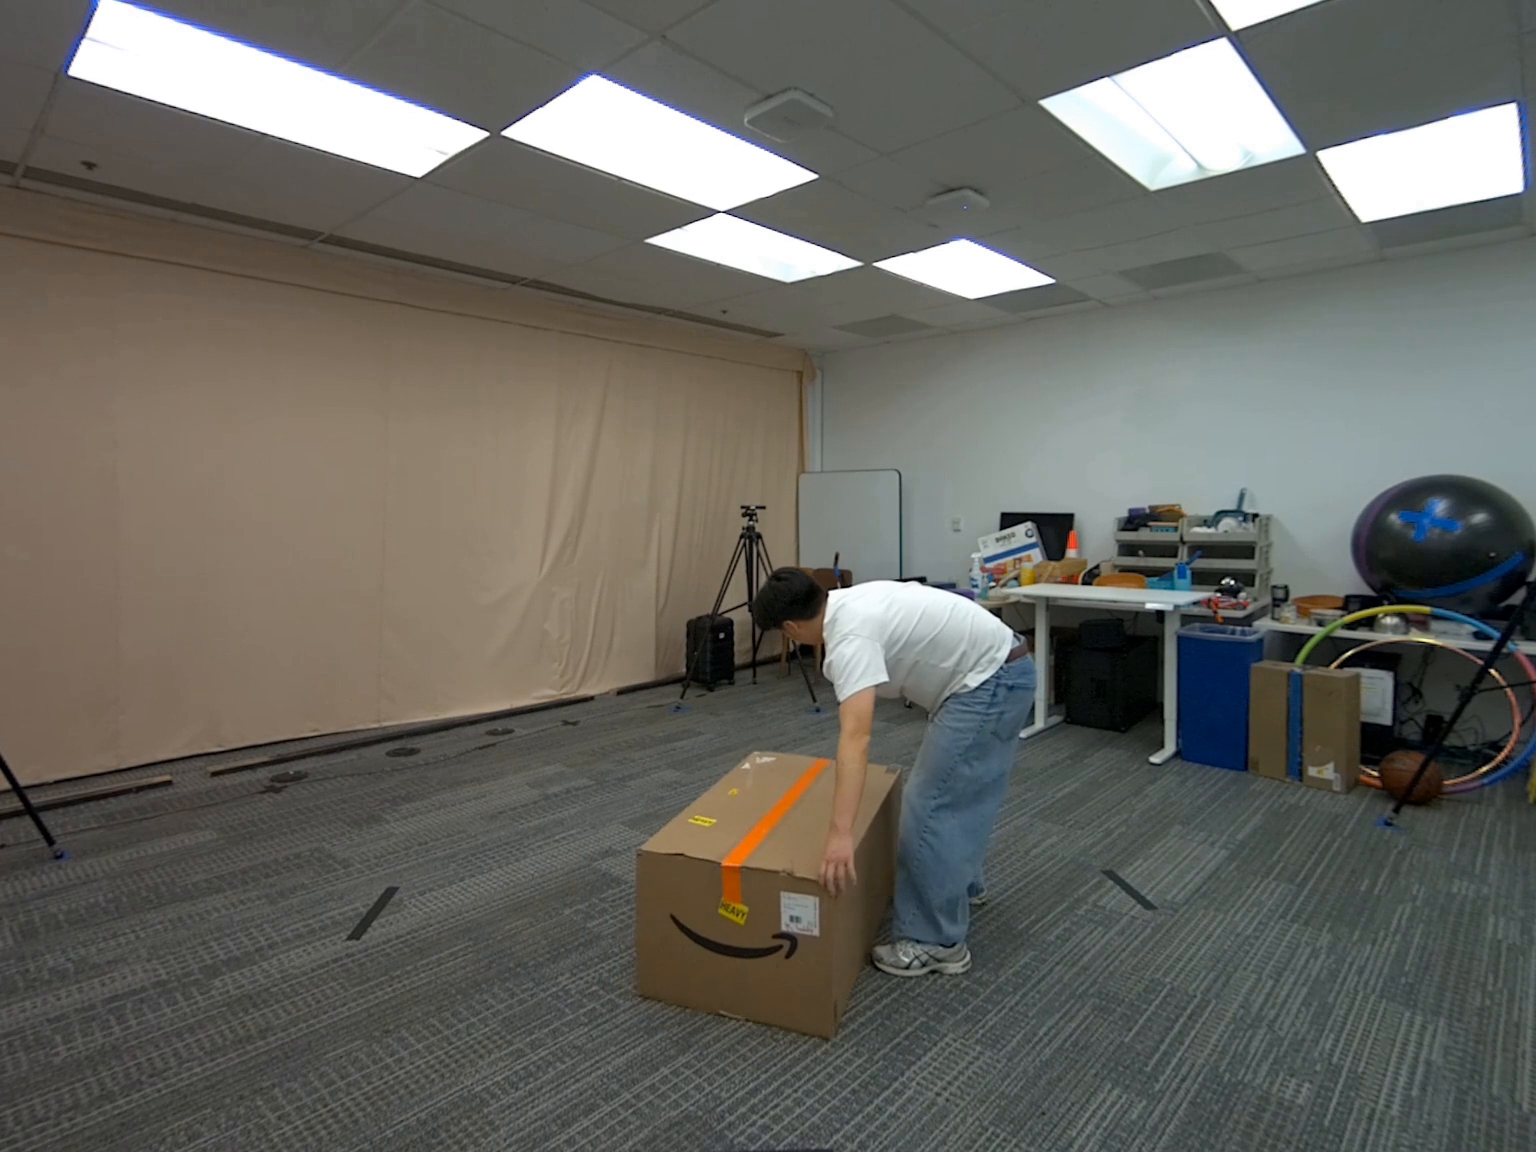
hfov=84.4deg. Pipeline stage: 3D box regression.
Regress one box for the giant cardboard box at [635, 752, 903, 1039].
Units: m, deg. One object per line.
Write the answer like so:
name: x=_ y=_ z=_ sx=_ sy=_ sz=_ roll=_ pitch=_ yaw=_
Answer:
giant cardboard box: x=0.063 y=0.947 z=2.750 sx=0.590 sy=0.425 sz=1.006 roll=1 pitch=5 yaw=19
